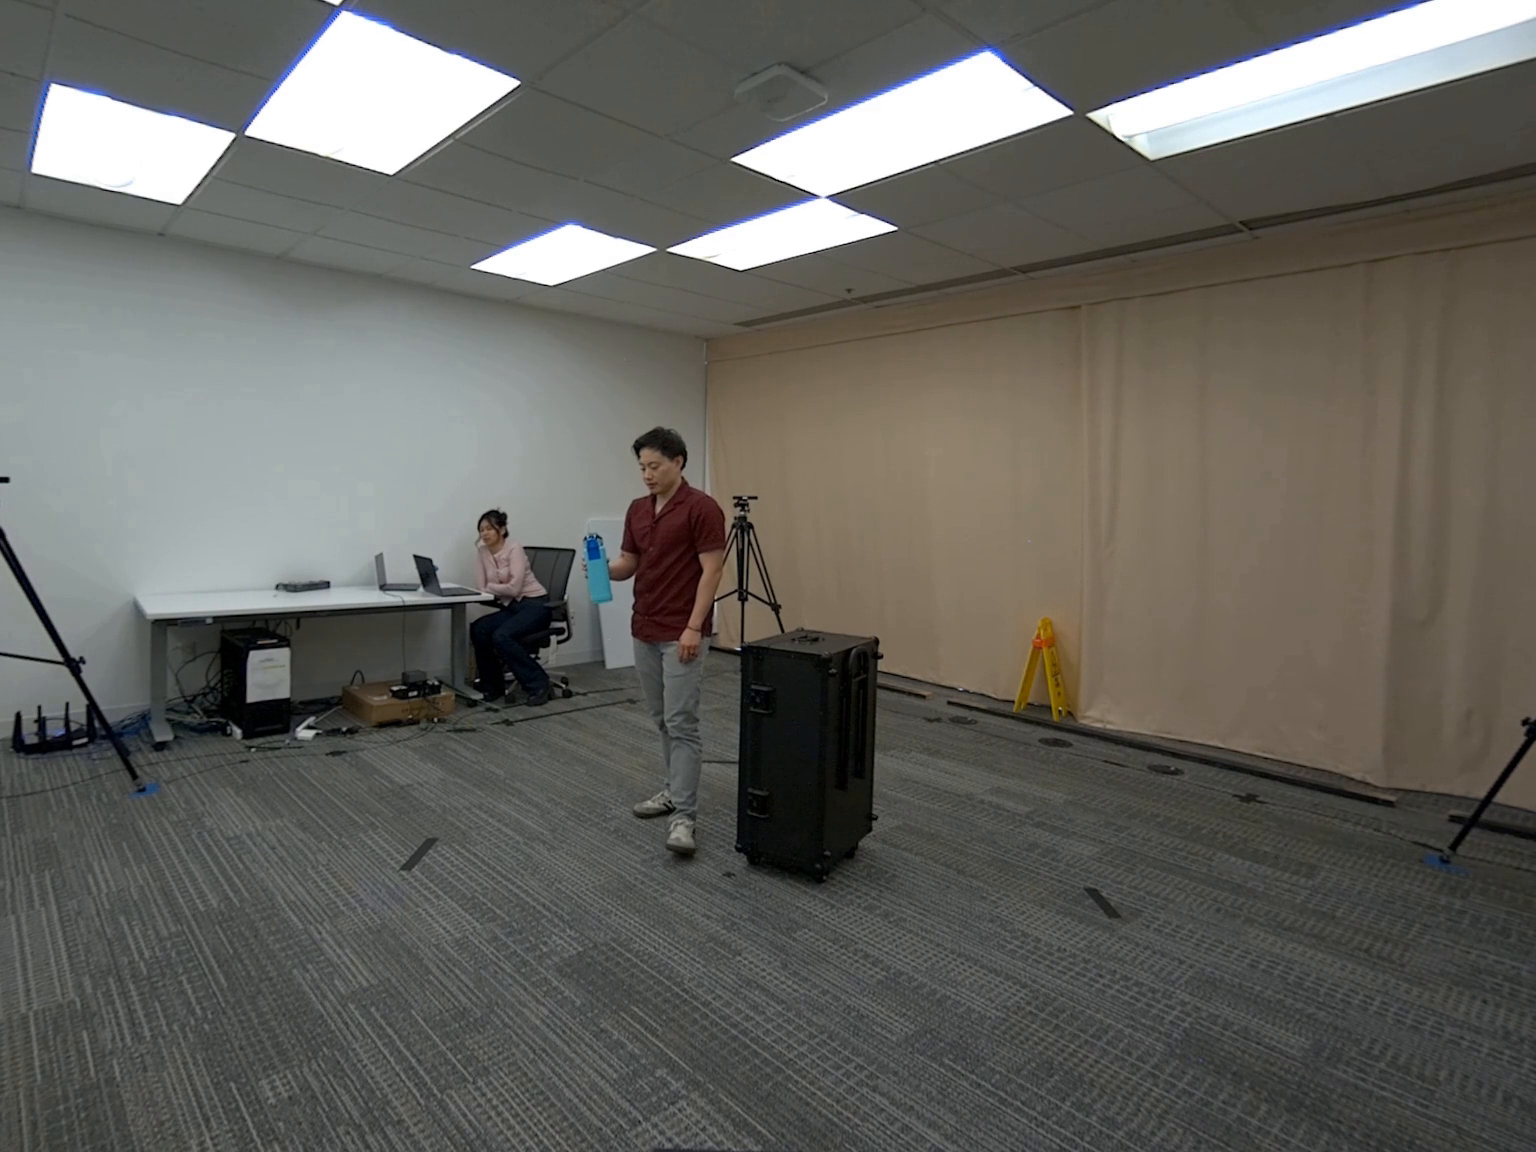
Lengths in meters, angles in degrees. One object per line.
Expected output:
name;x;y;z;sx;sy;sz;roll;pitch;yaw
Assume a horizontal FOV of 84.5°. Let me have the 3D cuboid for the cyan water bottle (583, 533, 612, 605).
cyan water bottle;-0.706;-0.039;3.397;0.092;0.282;0.093;-5;5;-1
